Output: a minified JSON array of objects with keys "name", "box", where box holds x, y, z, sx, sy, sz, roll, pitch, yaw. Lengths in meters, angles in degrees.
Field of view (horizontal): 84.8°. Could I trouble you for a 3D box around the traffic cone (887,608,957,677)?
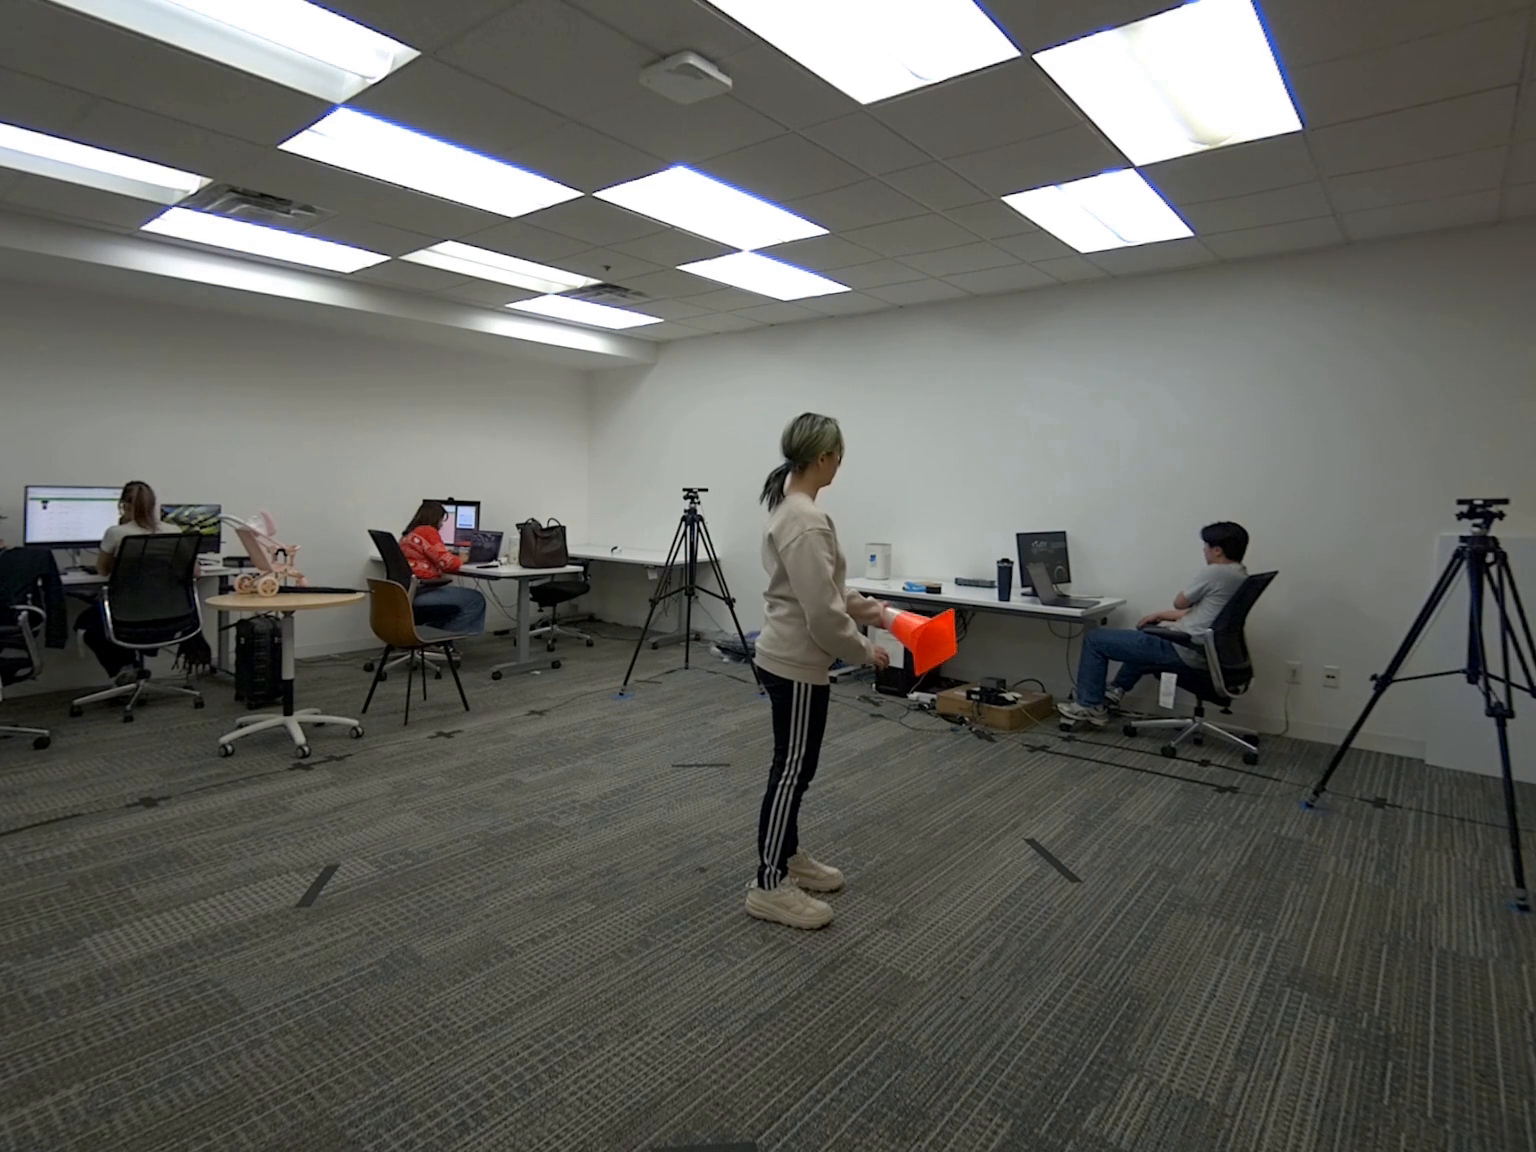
[{"name":"traffic cone","box":[0.476,0.177,3.156,0.202,0.198,0.399,-26,29,-23]}]
